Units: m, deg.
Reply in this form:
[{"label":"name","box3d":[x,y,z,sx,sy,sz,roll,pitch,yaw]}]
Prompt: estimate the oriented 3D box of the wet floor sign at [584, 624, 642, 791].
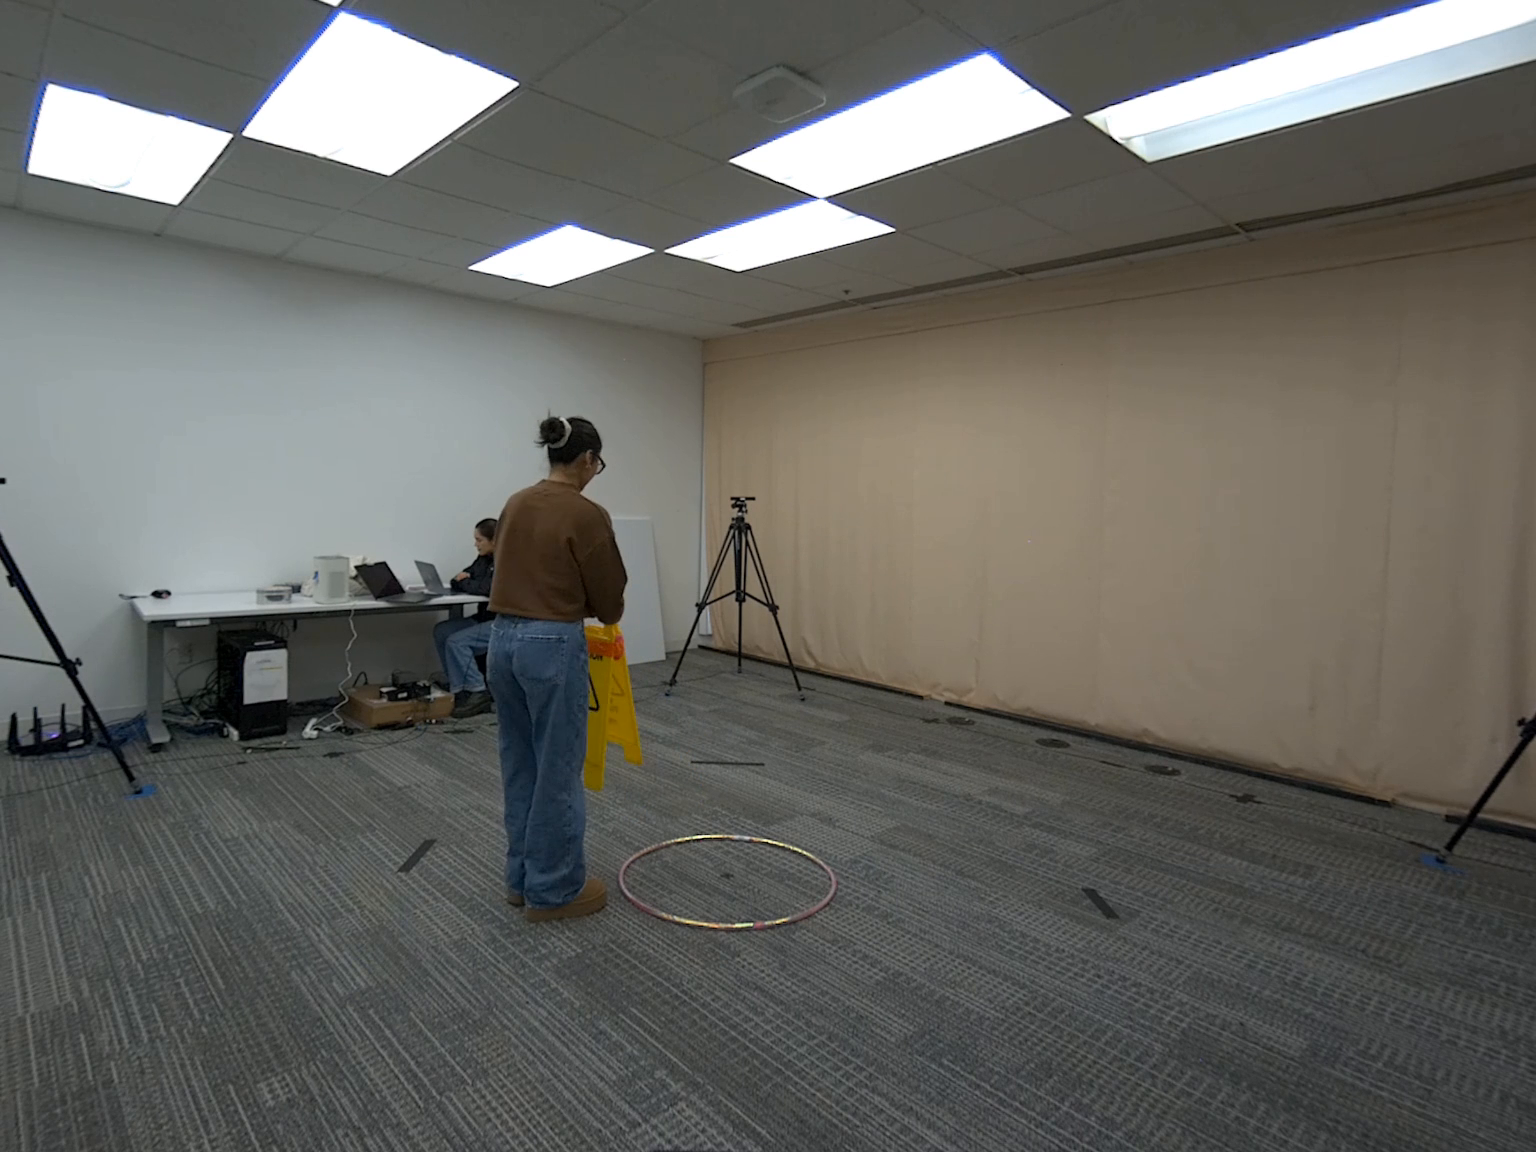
[{"label":"wet floor sign","box3d":[-0.658,0.427,3.157,0.288,0.642,0.285,8,11,26]}]
